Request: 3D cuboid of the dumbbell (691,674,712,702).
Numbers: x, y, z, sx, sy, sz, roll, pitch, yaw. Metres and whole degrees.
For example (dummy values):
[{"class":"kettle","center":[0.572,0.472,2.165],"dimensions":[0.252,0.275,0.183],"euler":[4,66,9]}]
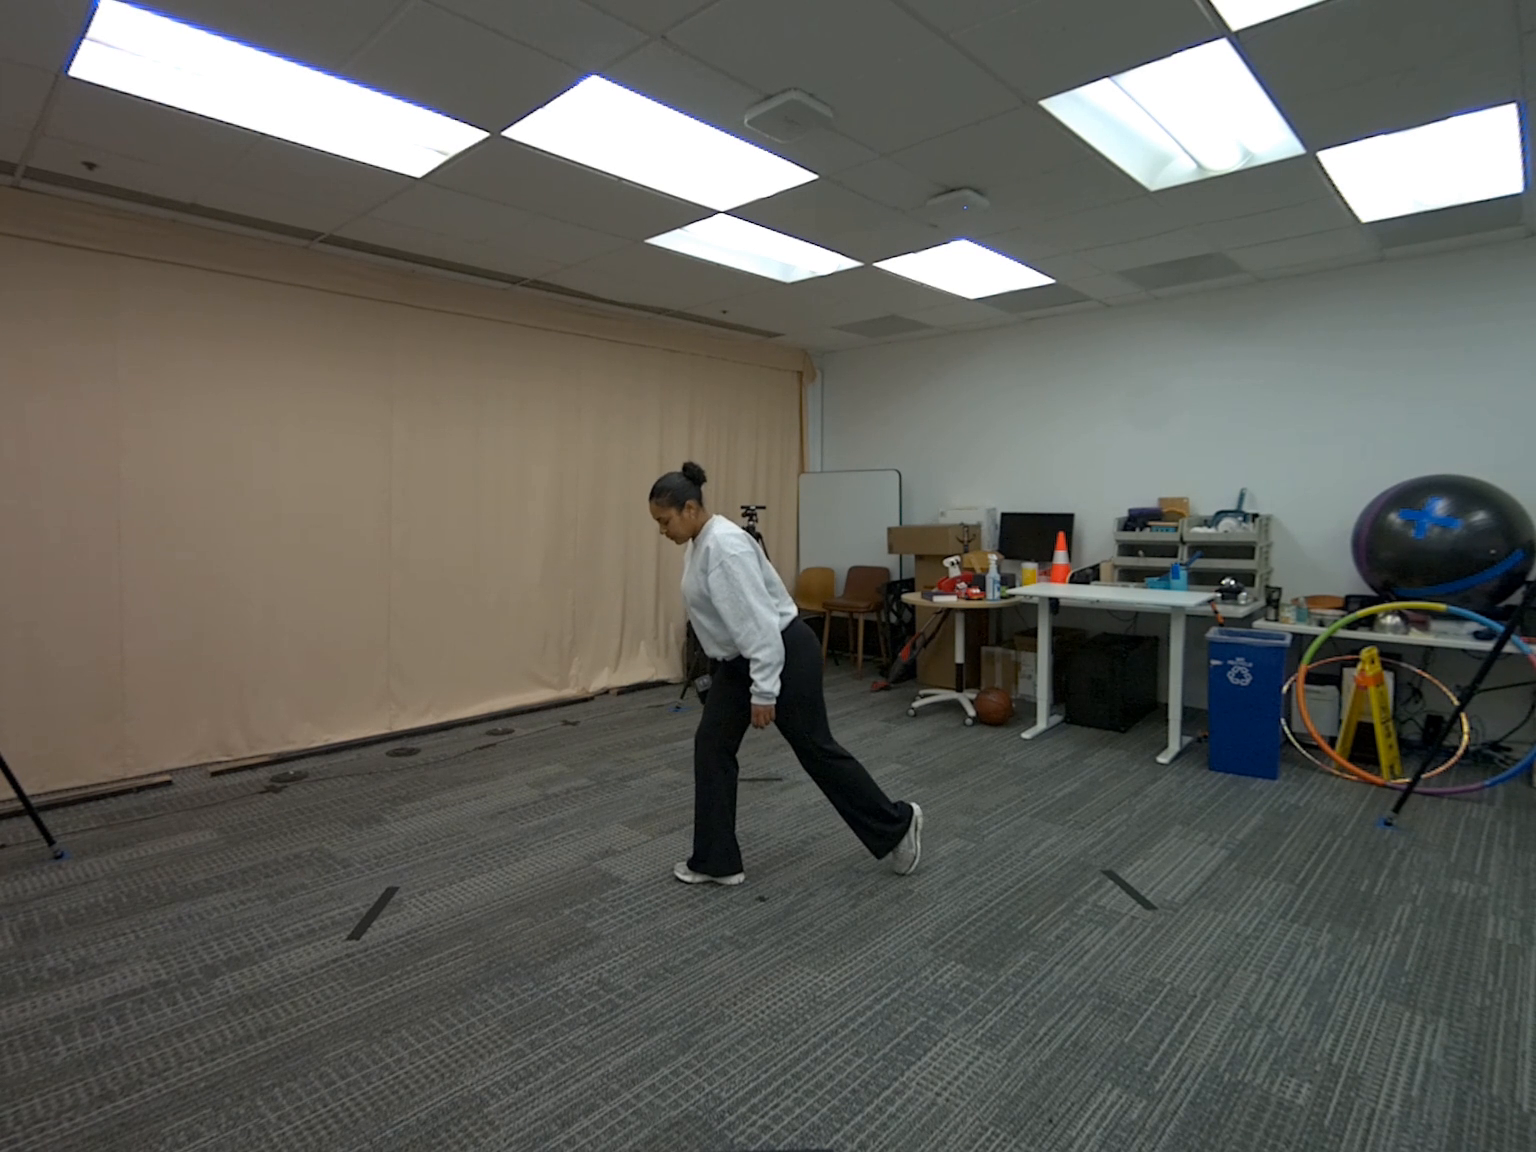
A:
[{"class":"dumbbell","center":[-0.140,0.424,3.351],"dimensions":[0.292,0.121,0.111],"euler":[-21,19,-5]}]
